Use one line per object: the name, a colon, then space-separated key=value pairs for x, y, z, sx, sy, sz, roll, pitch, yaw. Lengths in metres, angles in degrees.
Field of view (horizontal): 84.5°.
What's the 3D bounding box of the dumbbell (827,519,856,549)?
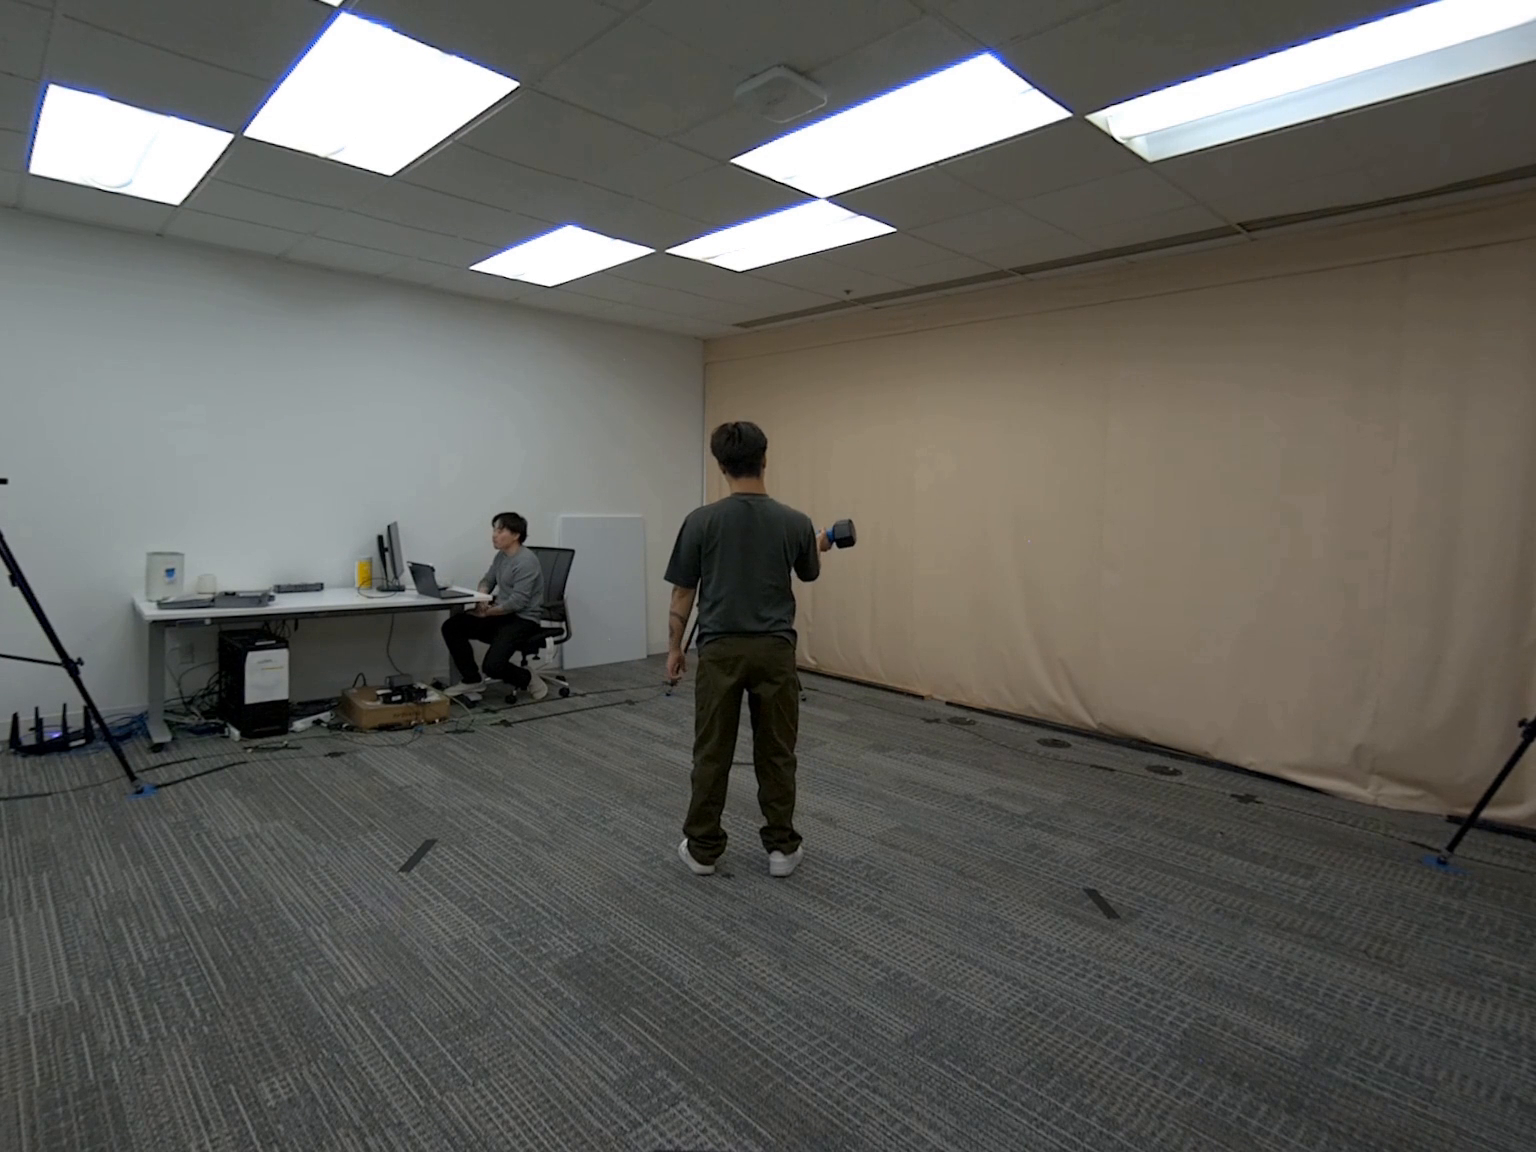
dumbbell: x=0.216 y=-0.170 z=3.555 sx=0.297 sy=0.124 sz=0.106 roll=-8 pitch=-16 yaw=17
